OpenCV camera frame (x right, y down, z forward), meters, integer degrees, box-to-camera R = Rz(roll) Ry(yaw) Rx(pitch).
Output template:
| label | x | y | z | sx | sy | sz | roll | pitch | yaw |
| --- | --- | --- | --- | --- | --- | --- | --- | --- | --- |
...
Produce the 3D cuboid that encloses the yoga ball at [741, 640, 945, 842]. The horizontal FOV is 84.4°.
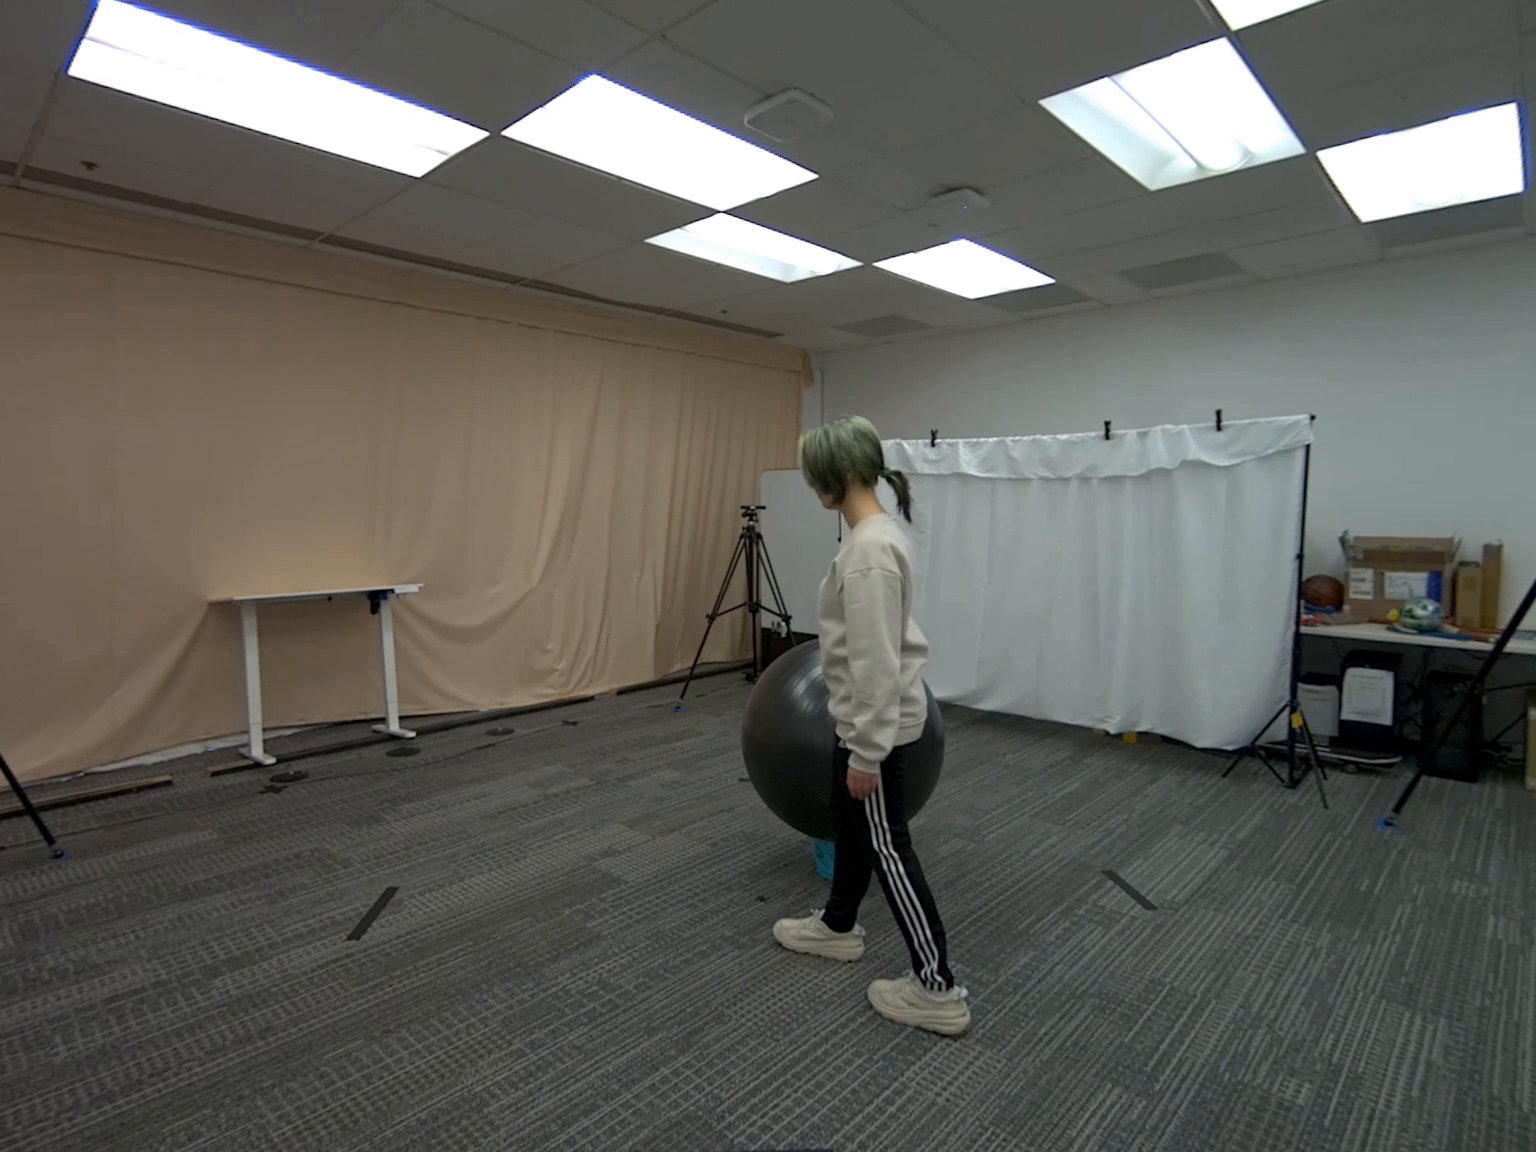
| label | x | y | z | sx | sy | sz | roll | pitch | yaw |
| --- | --- | --- | --- | --- | --- | --- | --- | --- | --- |
| yoga ball | 0.281 | 0.615 | 3.190 | 0.757 | 0.756 | 0.760 | 0 | 4 | -2 |
